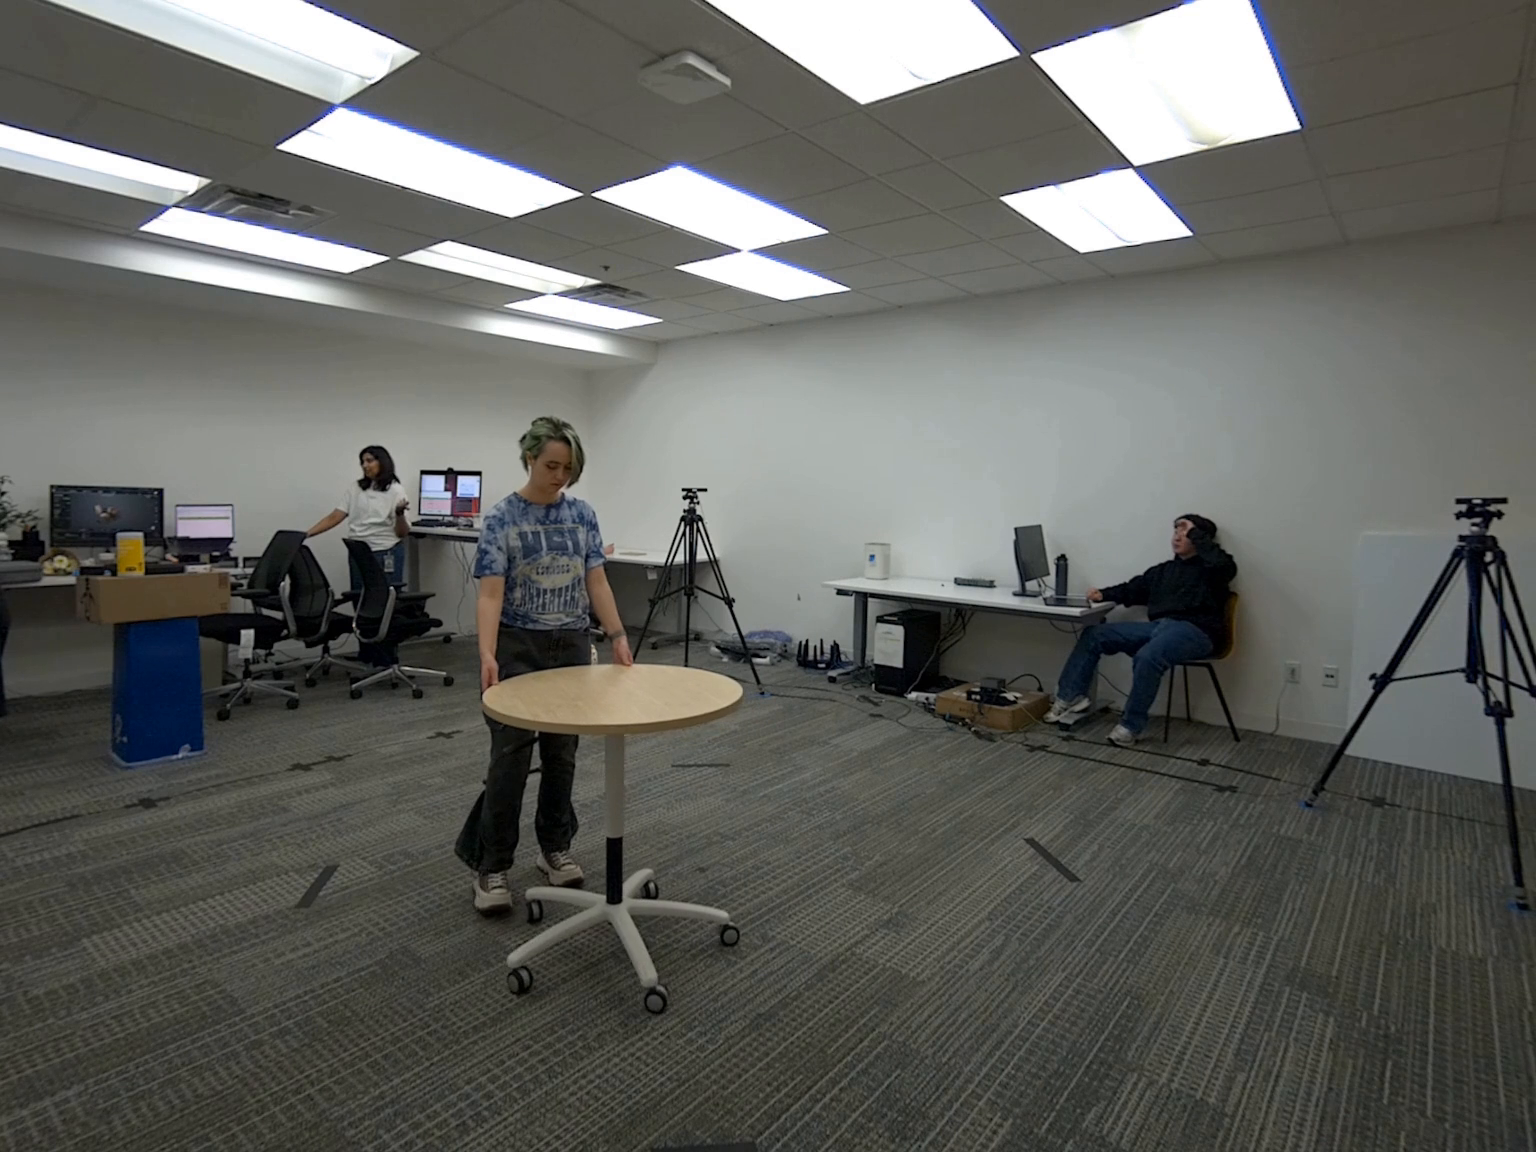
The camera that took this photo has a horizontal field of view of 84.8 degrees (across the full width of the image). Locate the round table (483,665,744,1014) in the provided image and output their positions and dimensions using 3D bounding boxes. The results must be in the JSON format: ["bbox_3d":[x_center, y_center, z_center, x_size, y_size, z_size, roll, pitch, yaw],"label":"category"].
[{"bbox_3d":[-0.460,0.732,2.555,0.763,0.791,0.768,0,4,-2],"label":"round table"}]
